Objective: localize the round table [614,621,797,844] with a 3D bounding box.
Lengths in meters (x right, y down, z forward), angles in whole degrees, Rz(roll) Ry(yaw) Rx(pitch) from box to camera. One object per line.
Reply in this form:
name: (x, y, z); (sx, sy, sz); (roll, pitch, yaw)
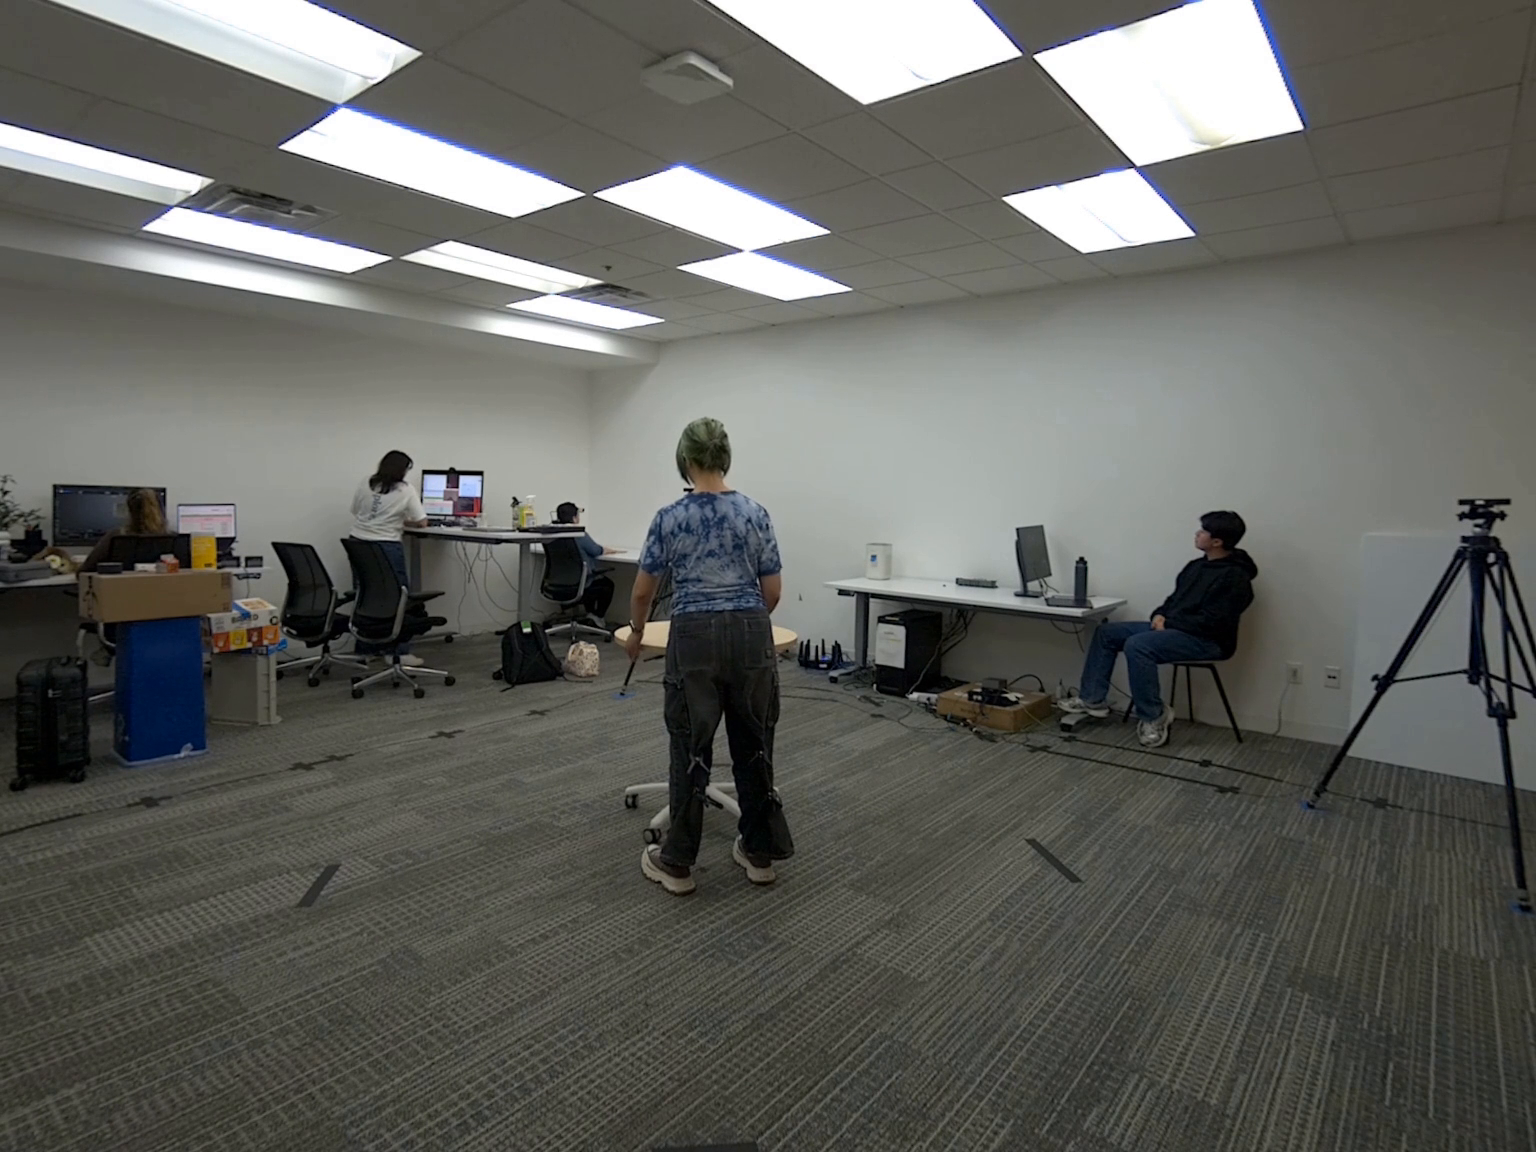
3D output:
round table: (-0.288, 0.629, 3.589); (0.763, 0.792, 0.767); (1, 3, -2)
